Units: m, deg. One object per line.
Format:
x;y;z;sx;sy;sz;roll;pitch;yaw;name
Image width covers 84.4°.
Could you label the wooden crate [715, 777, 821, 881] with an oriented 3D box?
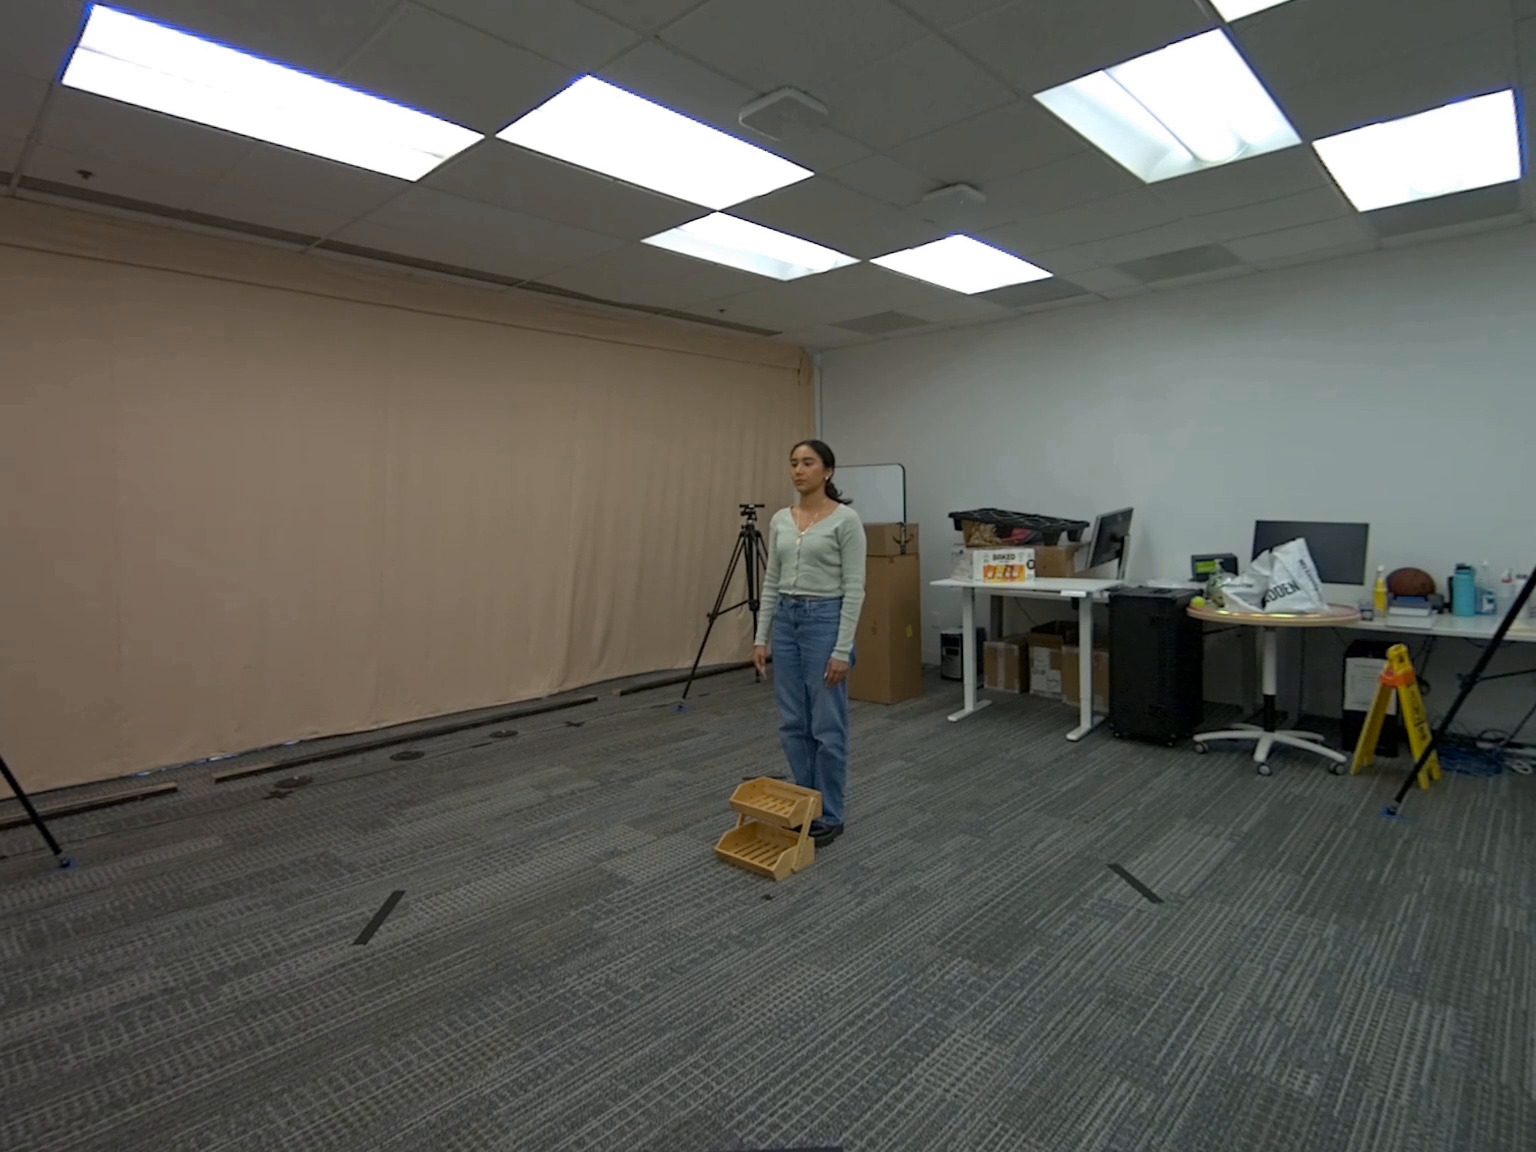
0.000;0.977;3.296;0.335;0.273;0.293;3;5;41;wooden crate
